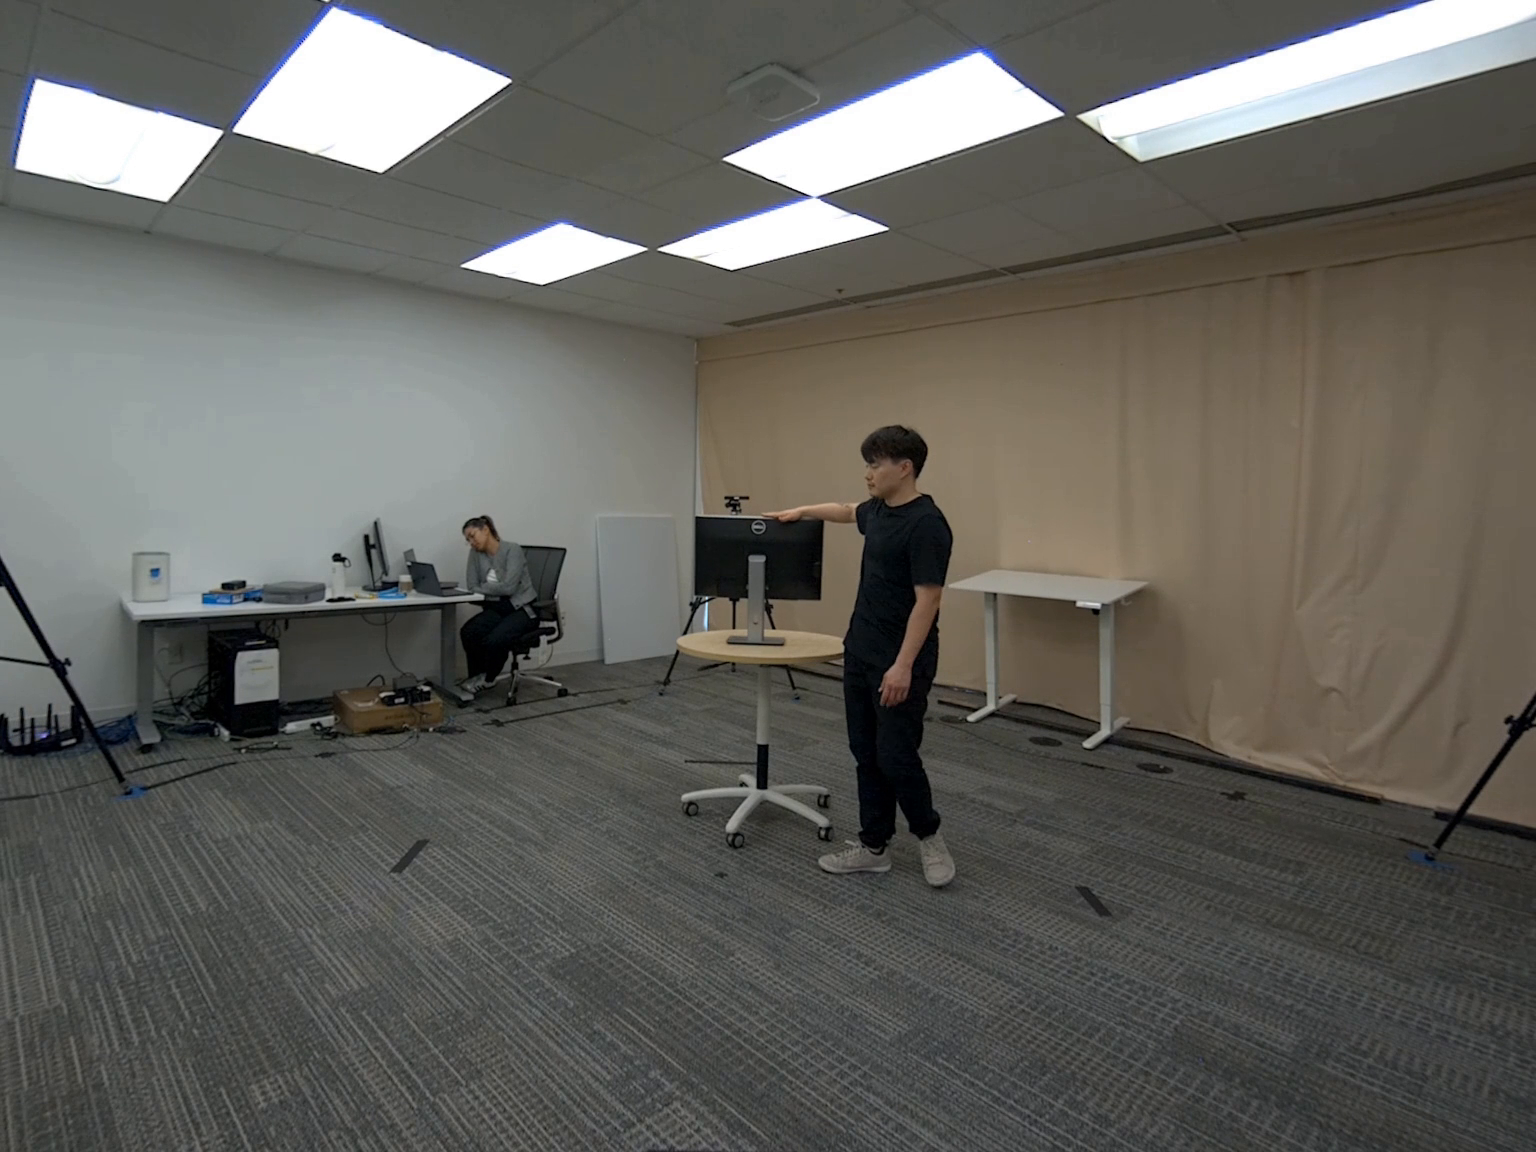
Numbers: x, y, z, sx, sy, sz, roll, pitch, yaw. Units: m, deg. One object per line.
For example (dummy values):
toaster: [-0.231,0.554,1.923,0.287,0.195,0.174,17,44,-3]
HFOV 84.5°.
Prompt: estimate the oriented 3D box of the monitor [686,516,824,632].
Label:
monitor: [-0.055,0.023,3.609,0.540,0.522,0.187,1,1,3]
